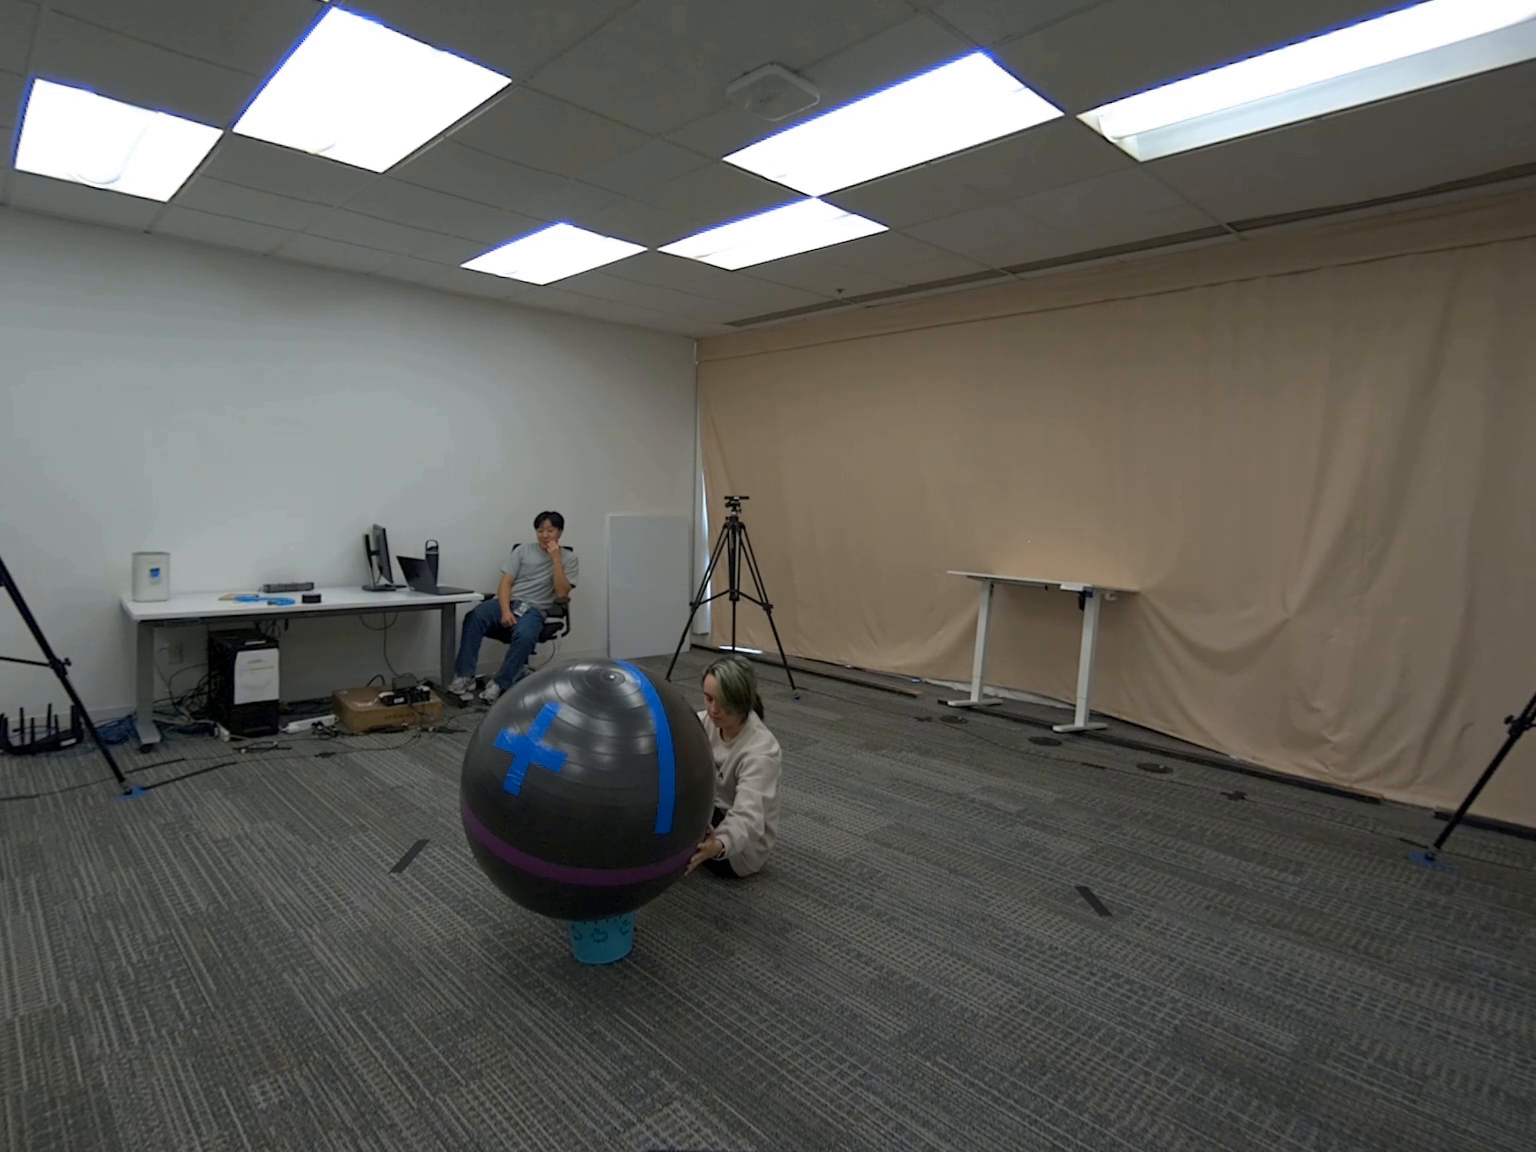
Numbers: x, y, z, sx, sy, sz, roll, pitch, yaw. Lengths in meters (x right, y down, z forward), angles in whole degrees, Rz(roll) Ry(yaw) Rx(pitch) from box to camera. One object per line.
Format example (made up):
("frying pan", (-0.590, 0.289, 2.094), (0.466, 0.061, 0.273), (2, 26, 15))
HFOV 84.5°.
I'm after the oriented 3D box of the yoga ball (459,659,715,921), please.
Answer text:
("yoga ball", (-0.538, 0.637, 2.531), (0.757, 0.756, 0.761), (1, 4, -1))
